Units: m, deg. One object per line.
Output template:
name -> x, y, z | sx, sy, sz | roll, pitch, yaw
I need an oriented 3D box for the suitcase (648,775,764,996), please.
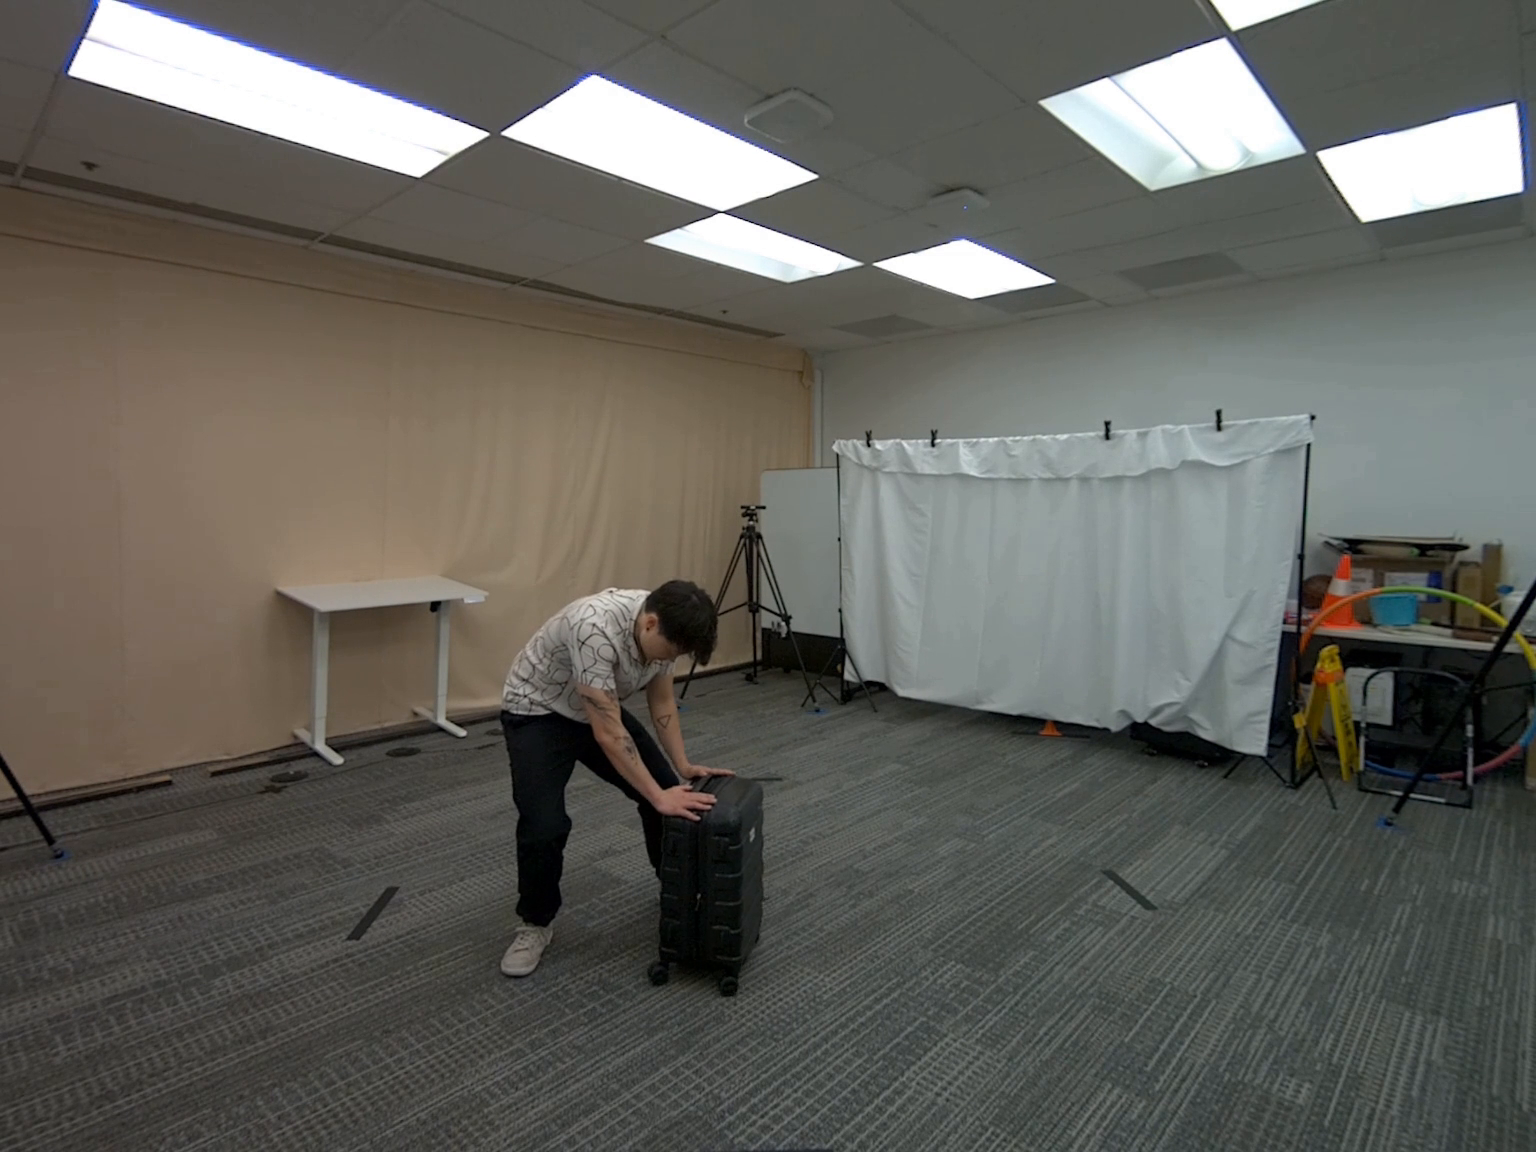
suitcase -> -0.157, 0.911, 2.564 | 0.252, 0.548, 0.371 | 3, 4, 11
